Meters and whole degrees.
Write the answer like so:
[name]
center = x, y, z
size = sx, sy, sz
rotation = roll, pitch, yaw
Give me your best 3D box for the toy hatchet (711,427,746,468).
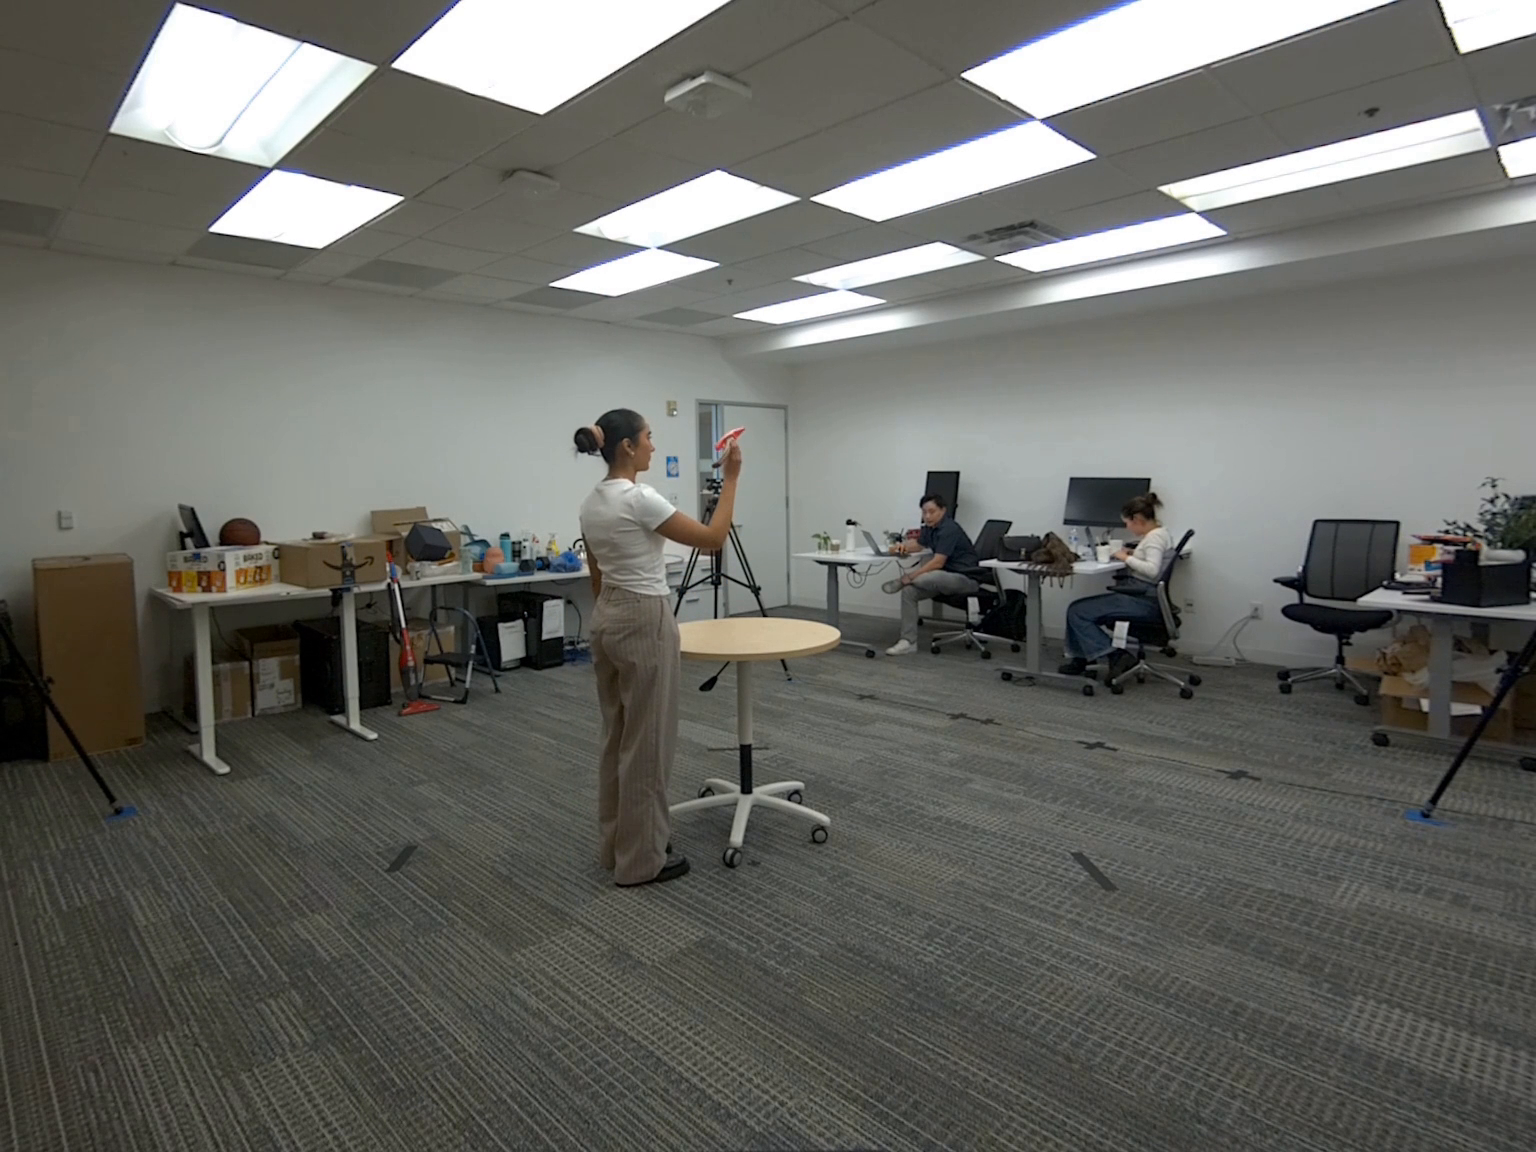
[toy hatchet]
center = -0.171, -0.443, 3.036
size = 0.133, 0.029, 0.273
rotation = -19, 27, 32
